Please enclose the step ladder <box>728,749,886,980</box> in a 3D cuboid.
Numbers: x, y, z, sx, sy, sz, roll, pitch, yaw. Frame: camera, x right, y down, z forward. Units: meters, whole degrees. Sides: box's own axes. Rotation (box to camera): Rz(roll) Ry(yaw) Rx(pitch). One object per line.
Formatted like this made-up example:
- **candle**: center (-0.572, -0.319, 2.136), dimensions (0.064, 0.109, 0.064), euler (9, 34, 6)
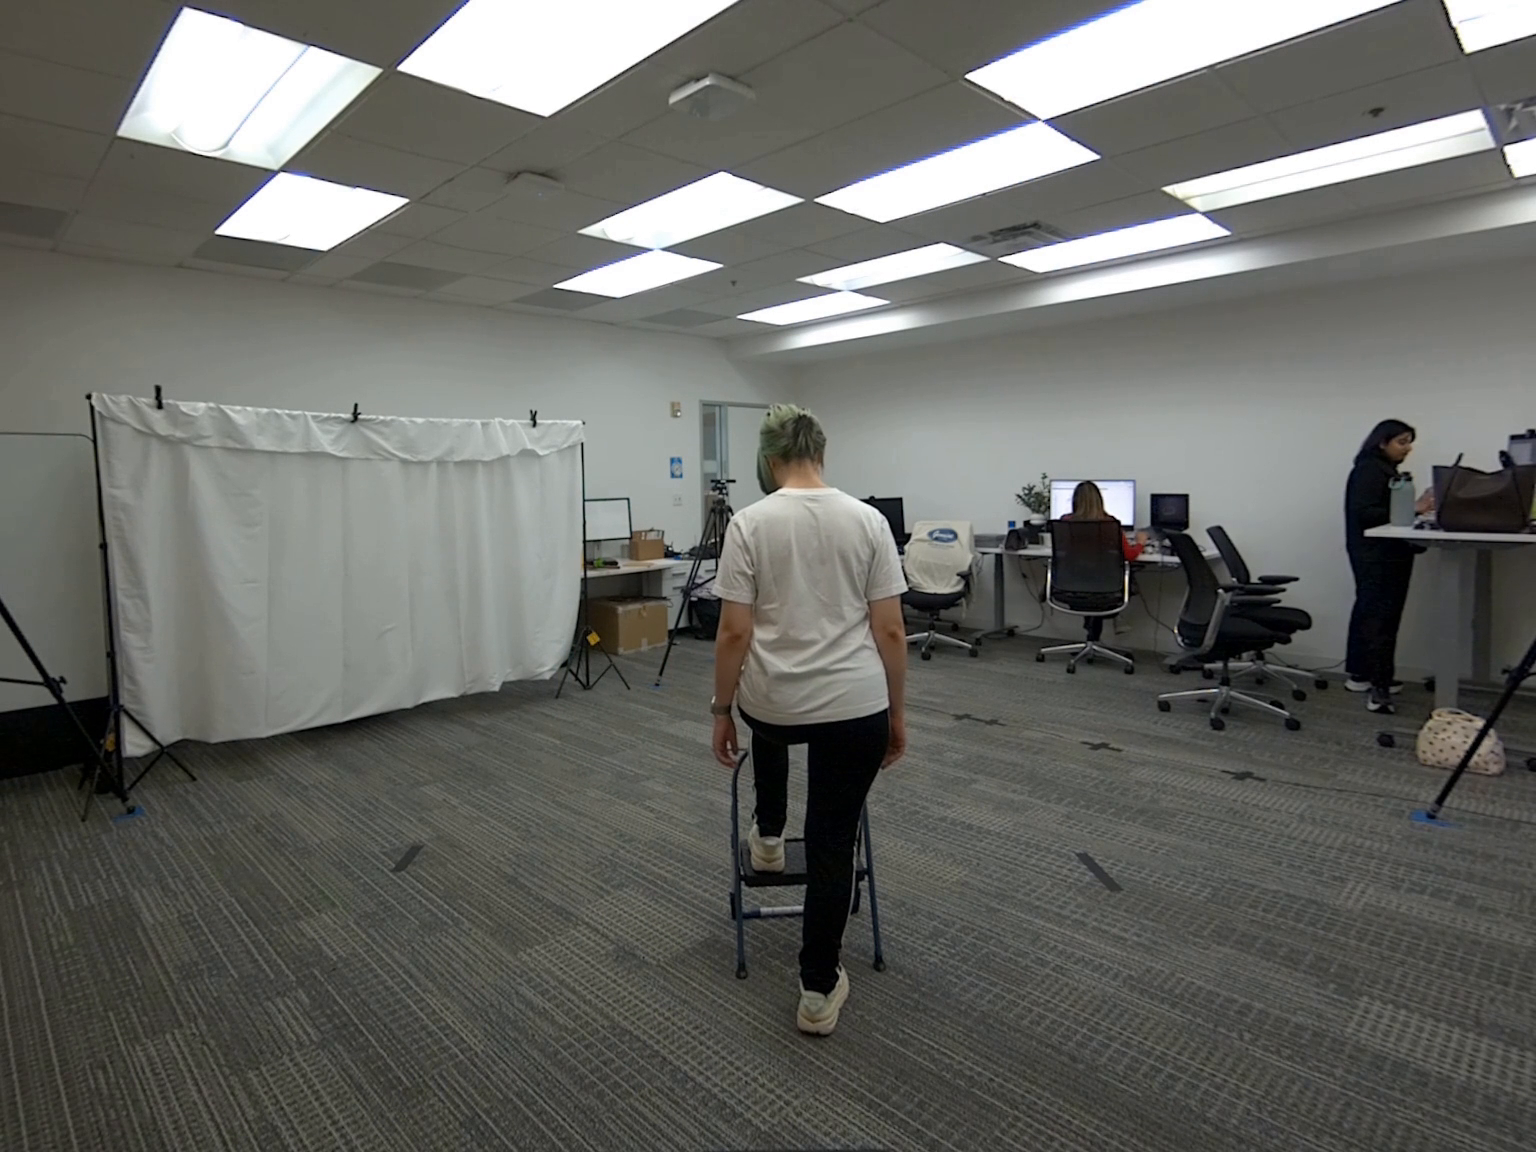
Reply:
- **step ladder**: center (0.107, 0.812, 2.563), dimensions (0.429, 0.603, 0.352), euler (-1, 5, -5)
